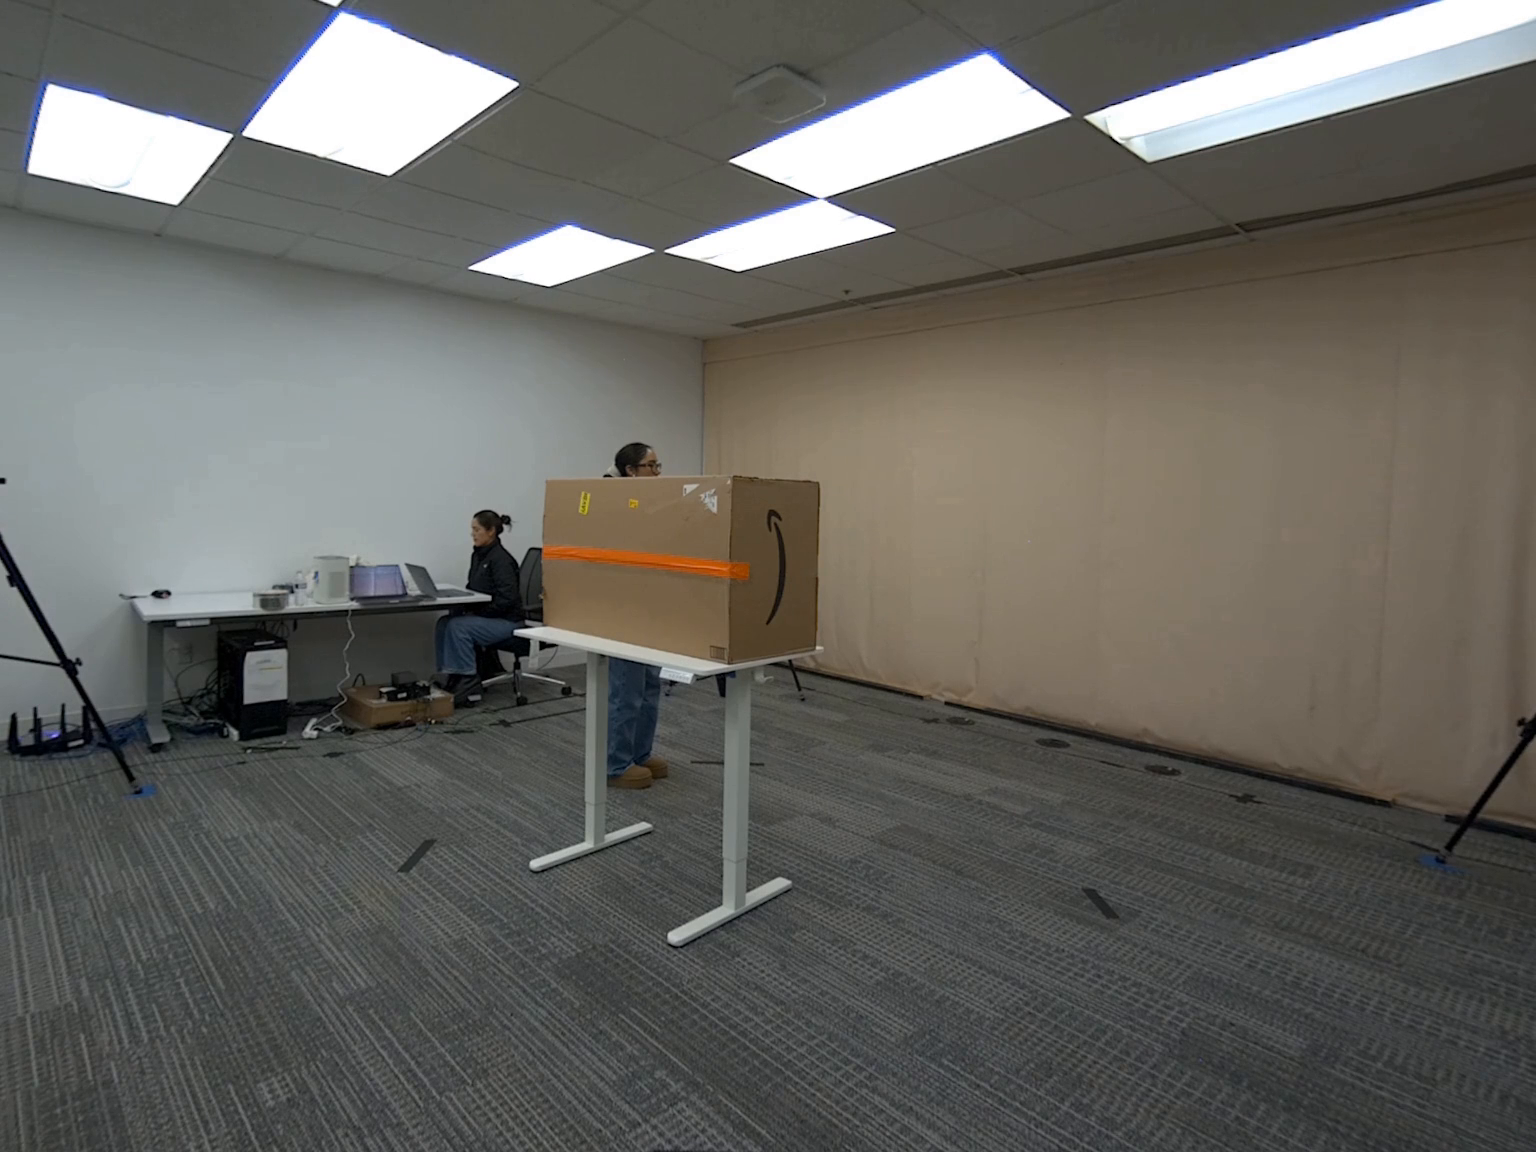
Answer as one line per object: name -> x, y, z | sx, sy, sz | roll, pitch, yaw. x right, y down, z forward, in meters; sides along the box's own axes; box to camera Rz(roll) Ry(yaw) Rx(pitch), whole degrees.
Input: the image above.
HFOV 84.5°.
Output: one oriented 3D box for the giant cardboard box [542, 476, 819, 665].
giant cardboard box -> -0.356, -0.058, 3.054 | 1.052, 0.576, 0.416 | 5, 4, 44
